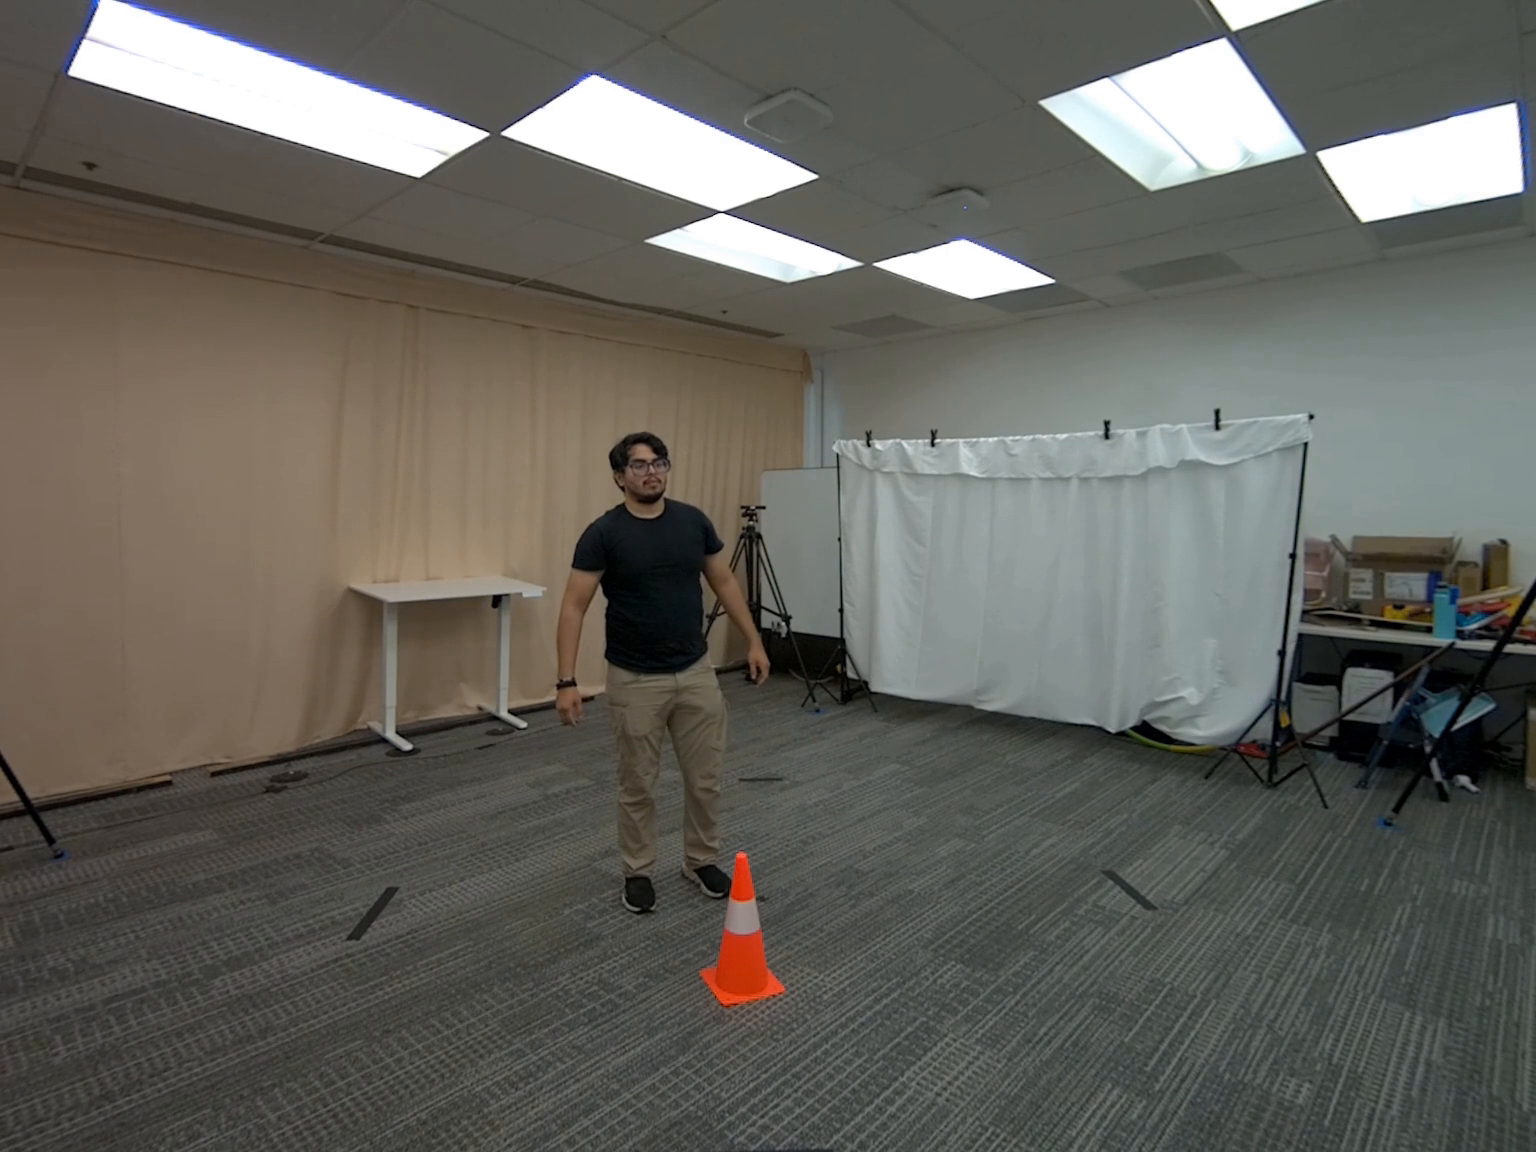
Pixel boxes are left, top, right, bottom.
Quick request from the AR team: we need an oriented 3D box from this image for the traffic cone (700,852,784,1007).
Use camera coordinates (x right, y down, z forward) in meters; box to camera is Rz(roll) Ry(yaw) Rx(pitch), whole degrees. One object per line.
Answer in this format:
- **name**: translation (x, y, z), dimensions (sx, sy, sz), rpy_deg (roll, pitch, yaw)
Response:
- **traffic cone**: translation (-0.071, 1.006, 2.445), dimensions (0.199, 0.383, 0.210), rpy_deg (-2, 4, -22)
